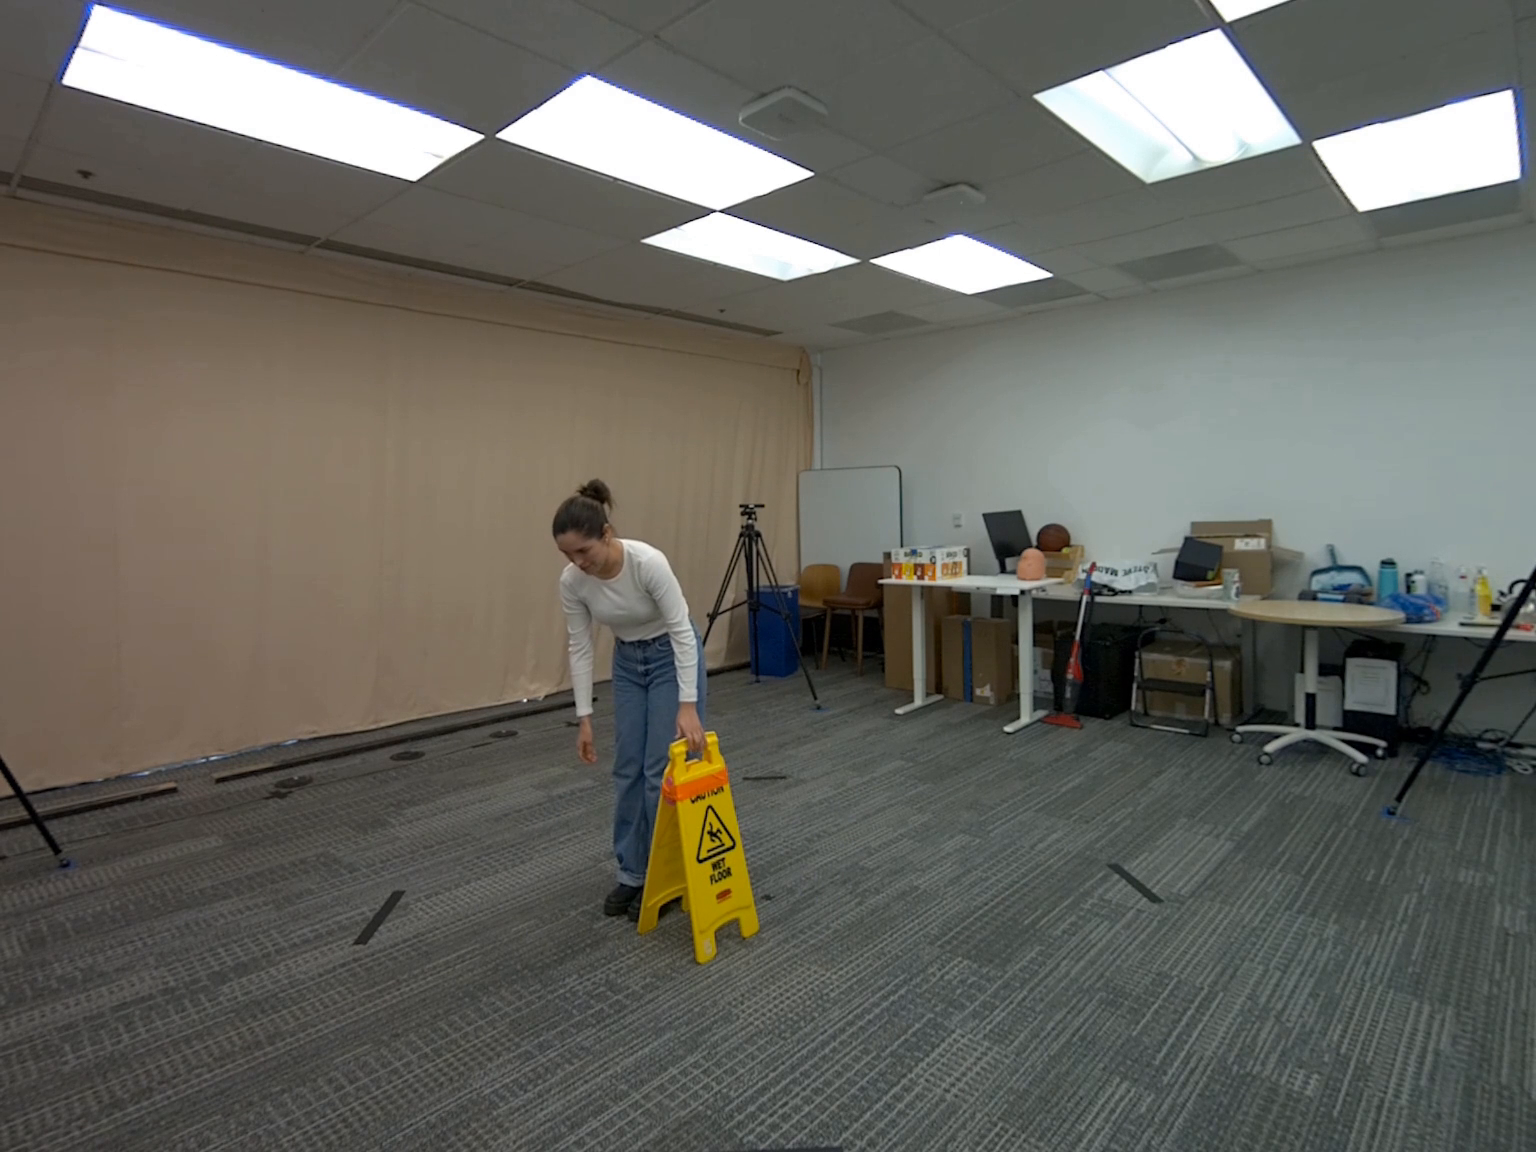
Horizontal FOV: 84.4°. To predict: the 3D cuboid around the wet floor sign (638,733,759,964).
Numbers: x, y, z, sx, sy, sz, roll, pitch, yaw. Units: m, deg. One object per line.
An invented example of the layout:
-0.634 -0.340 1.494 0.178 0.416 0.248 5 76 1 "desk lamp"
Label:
-0.231 0.843 2.731 0.299 0.645 0.274 1 4 41 "wet floor sign"
